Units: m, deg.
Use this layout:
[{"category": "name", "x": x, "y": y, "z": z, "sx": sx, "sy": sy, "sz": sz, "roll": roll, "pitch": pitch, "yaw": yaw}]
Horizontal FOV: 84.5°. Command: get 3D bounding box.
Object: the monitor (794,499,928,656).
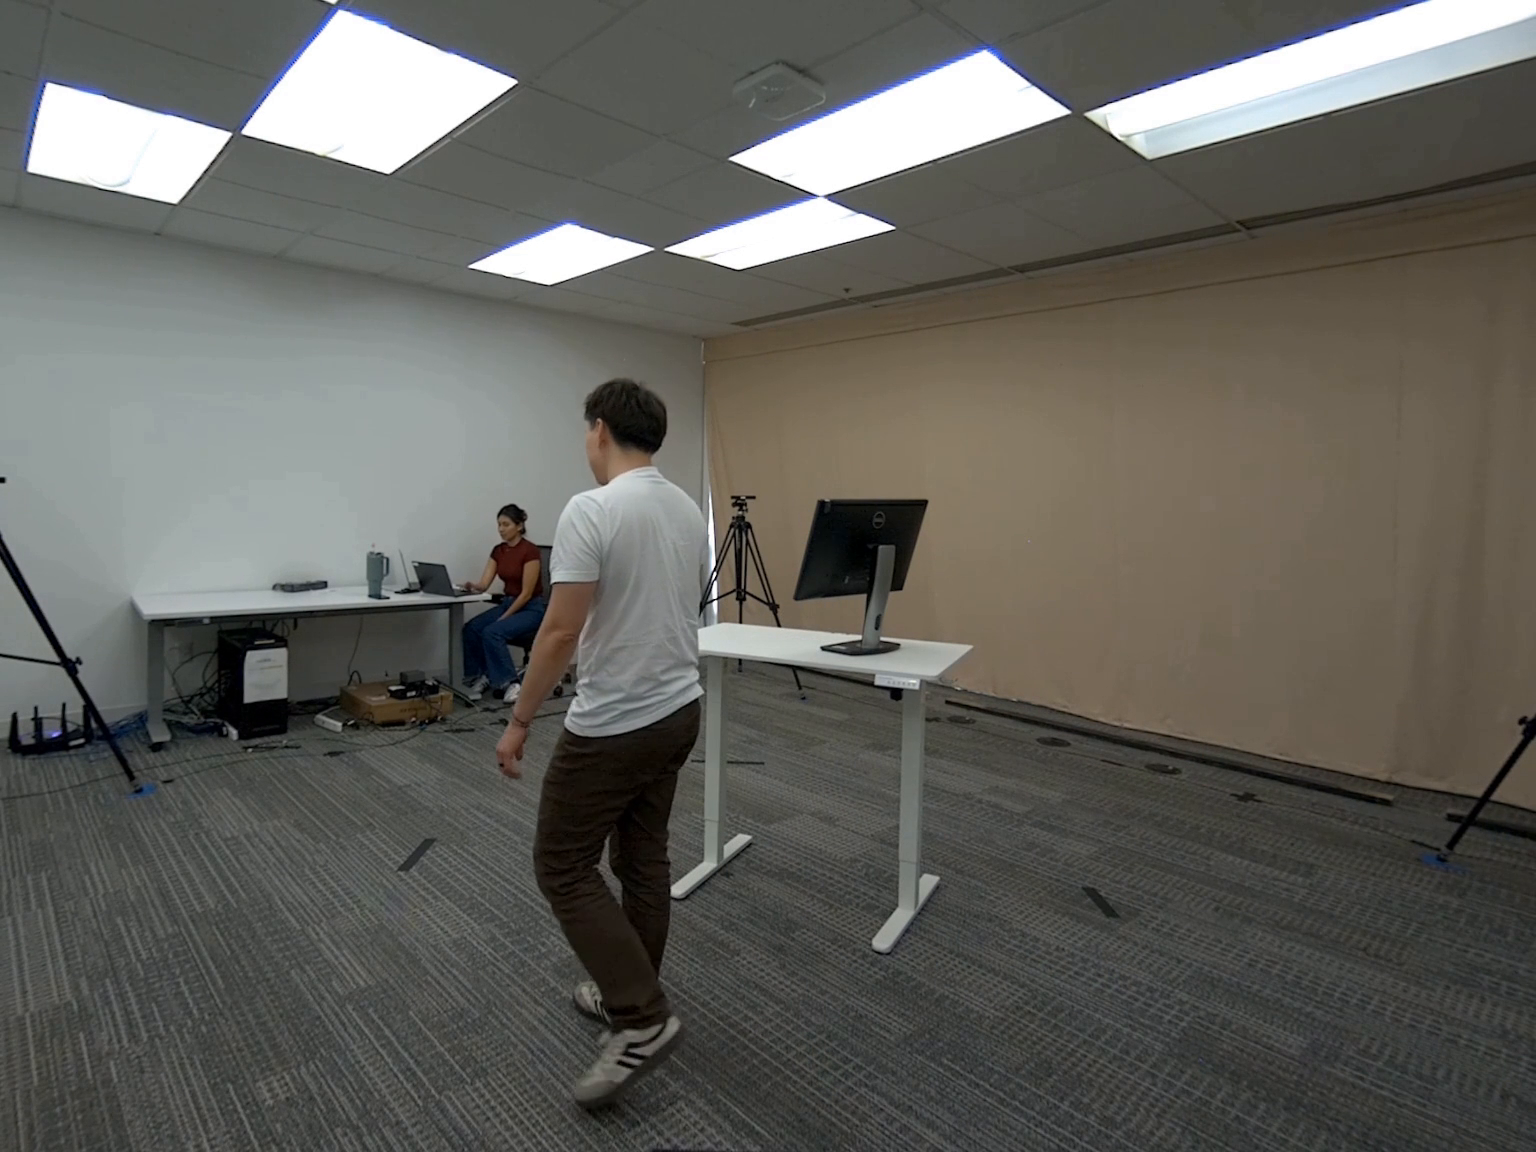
[{"category": "monitor", "x": 0.333, "y": 0.000, "z": 2.862, "sx": 0.527, "sy": 0.520, "sz": 0.192, "roll": -3, "pitch": 10, "yaw": -42}]
